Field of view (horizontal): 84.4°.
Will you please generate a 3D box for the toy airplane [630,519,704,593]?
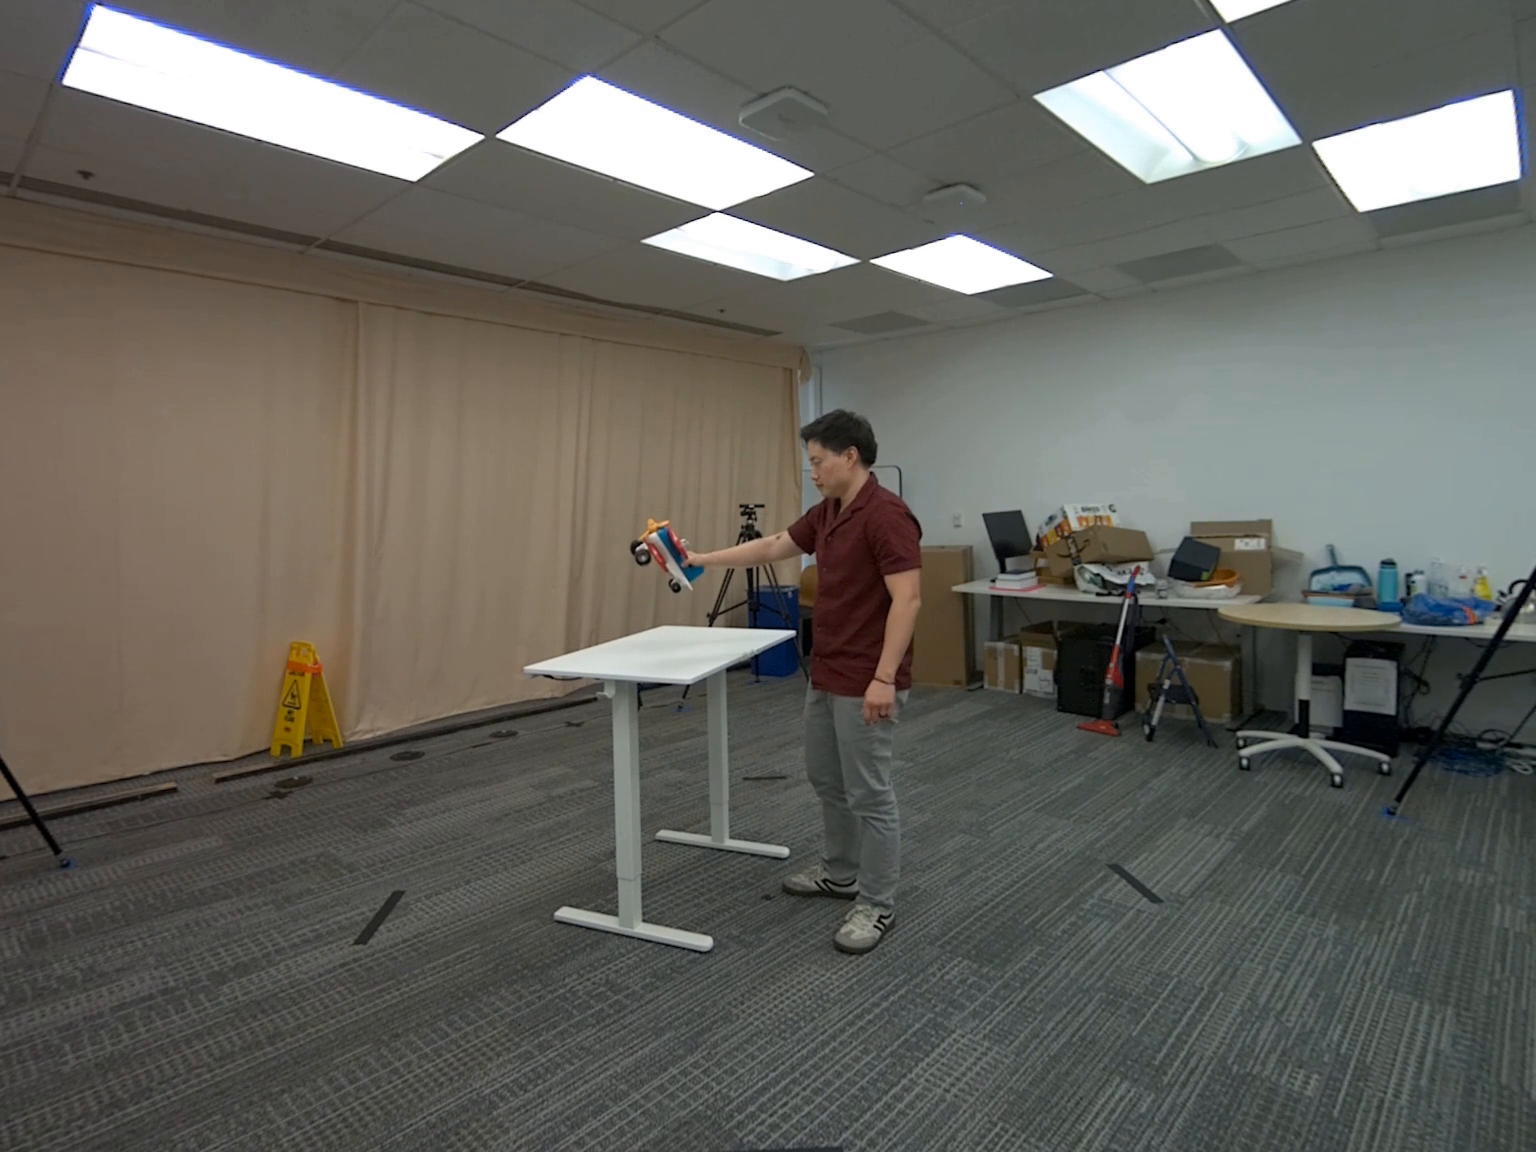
[{"bbox_3d":[-0.342,-0.070,2.841,0.260,0.156,0.250,45,2,35],"label":"toy airplane"}]
